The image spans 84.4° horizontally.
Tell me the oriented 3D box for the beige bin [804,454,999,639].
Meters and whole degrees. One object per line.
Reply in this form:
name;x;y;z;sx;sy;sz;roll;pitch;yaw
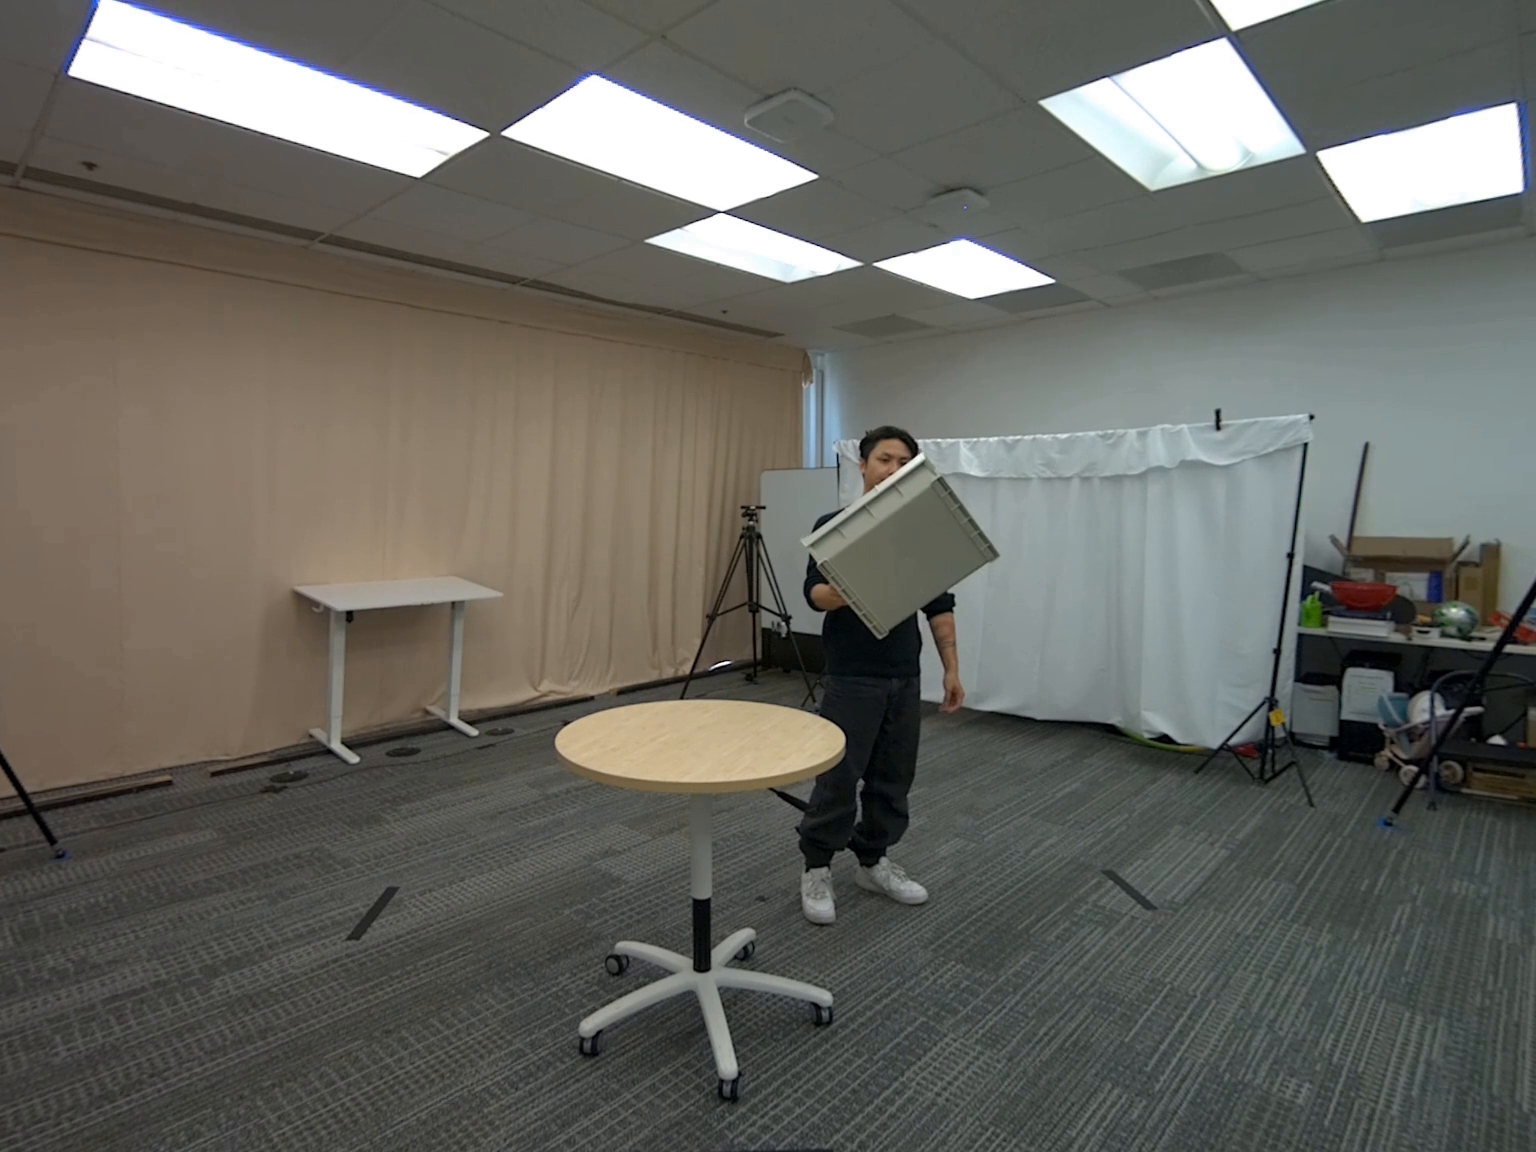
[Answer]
beige bin;0.373;-0.093;2.399;0.425;0.369;0.192;-36;22;12
